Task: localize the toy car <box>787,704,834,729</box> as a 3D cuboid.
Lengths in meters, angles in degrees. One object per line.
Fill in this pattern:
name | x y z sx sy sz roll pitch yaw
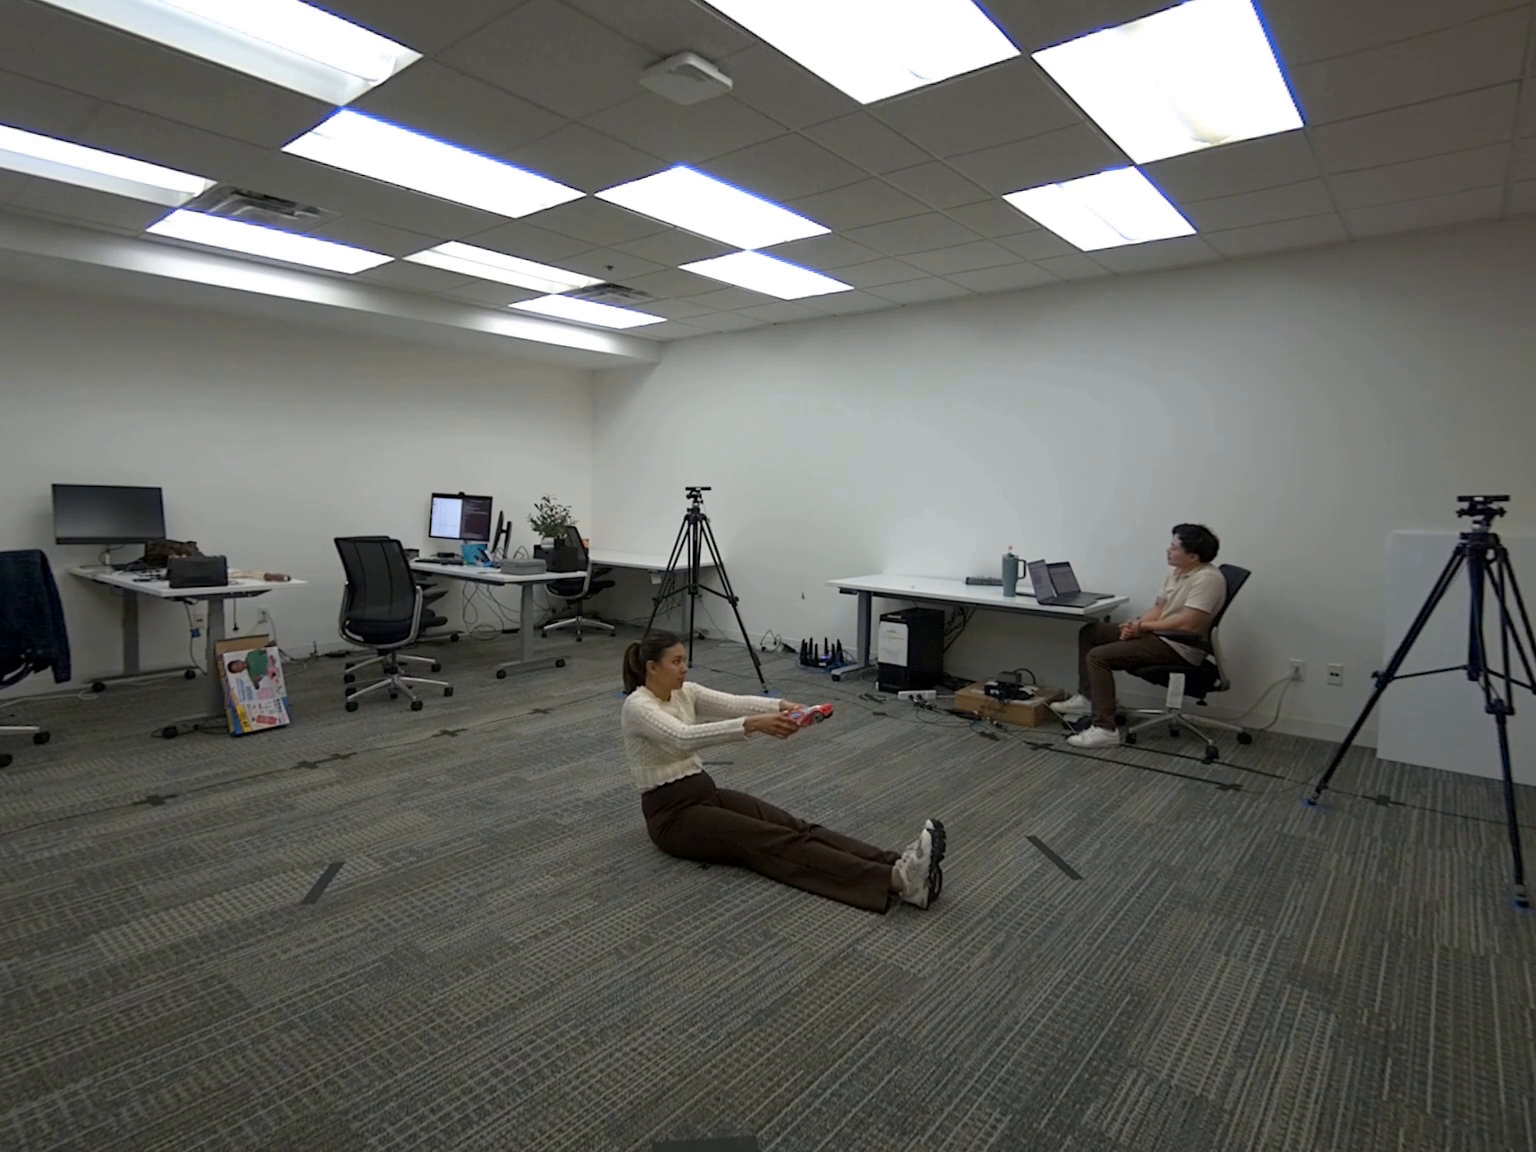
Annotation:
toy car | 0.089 0.524 3.054 0.259 0.084 0.127 -16 -4 25
